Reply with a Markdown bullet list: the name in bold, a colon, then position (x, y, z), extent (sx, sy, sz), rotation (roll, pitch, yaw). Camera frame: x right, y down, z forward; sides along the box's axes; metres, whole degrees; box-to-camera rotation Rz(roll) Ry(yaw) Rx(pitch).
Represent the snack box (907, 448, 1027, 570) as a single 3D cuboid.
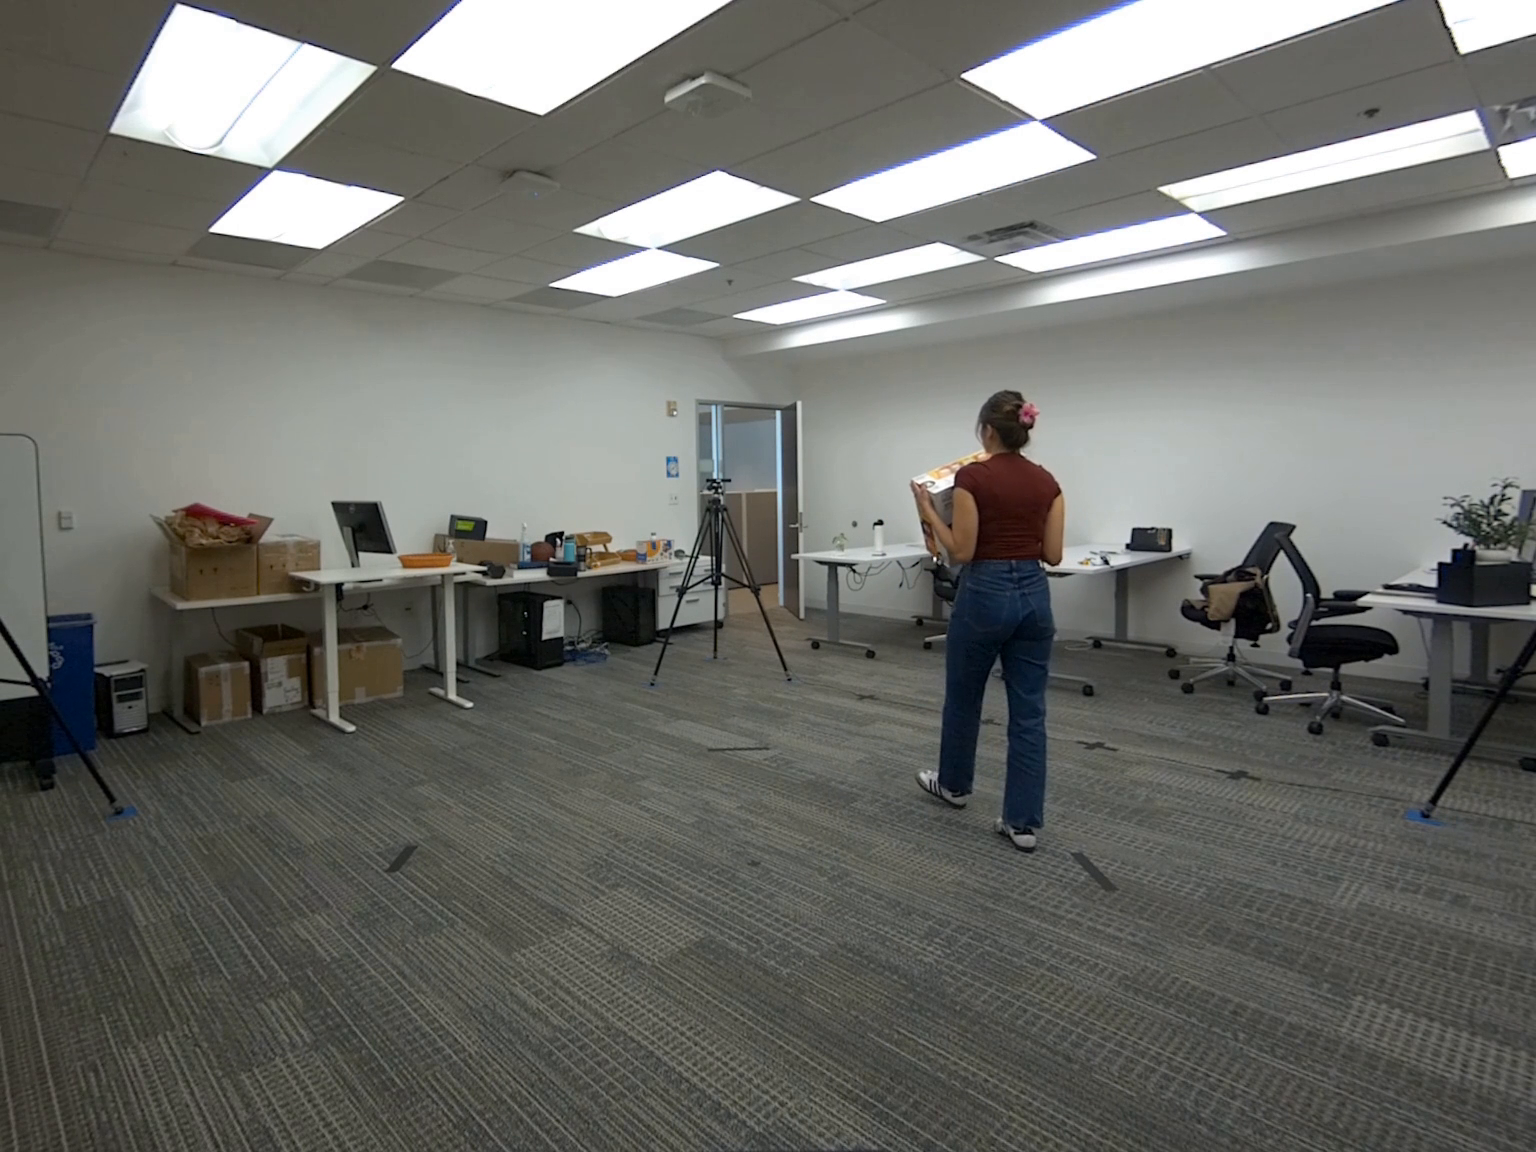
- **snack box**: position (0.826, -0.288, 3.449), extent (0.404, 0.331, 0.212), rotation (-22, 25, -6)
